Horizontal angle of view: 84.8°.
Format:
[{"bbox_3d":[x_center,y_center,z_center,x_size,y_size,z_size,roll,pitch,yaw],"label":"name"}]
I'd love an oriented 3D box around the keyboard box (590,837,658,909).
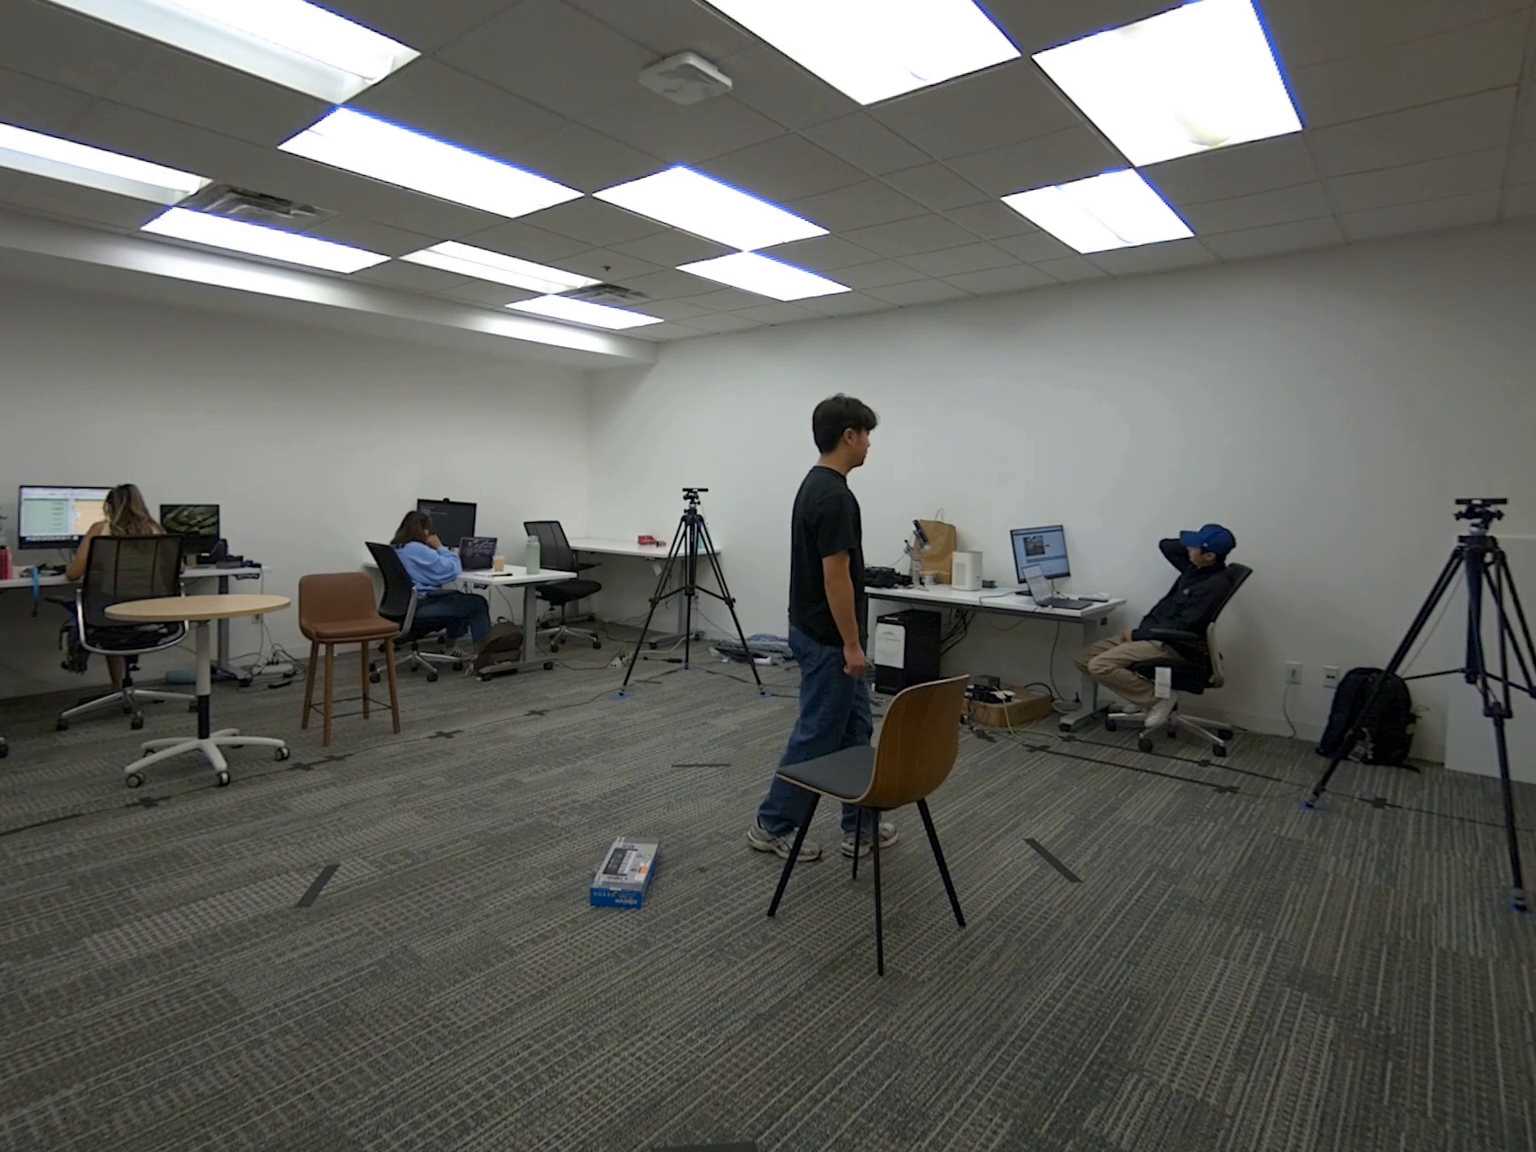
[{"bbox_3d":[-0.513,1.046,3.027,0.177,0.059,0.437,2,5,2],"label":"keyboard box"}]
